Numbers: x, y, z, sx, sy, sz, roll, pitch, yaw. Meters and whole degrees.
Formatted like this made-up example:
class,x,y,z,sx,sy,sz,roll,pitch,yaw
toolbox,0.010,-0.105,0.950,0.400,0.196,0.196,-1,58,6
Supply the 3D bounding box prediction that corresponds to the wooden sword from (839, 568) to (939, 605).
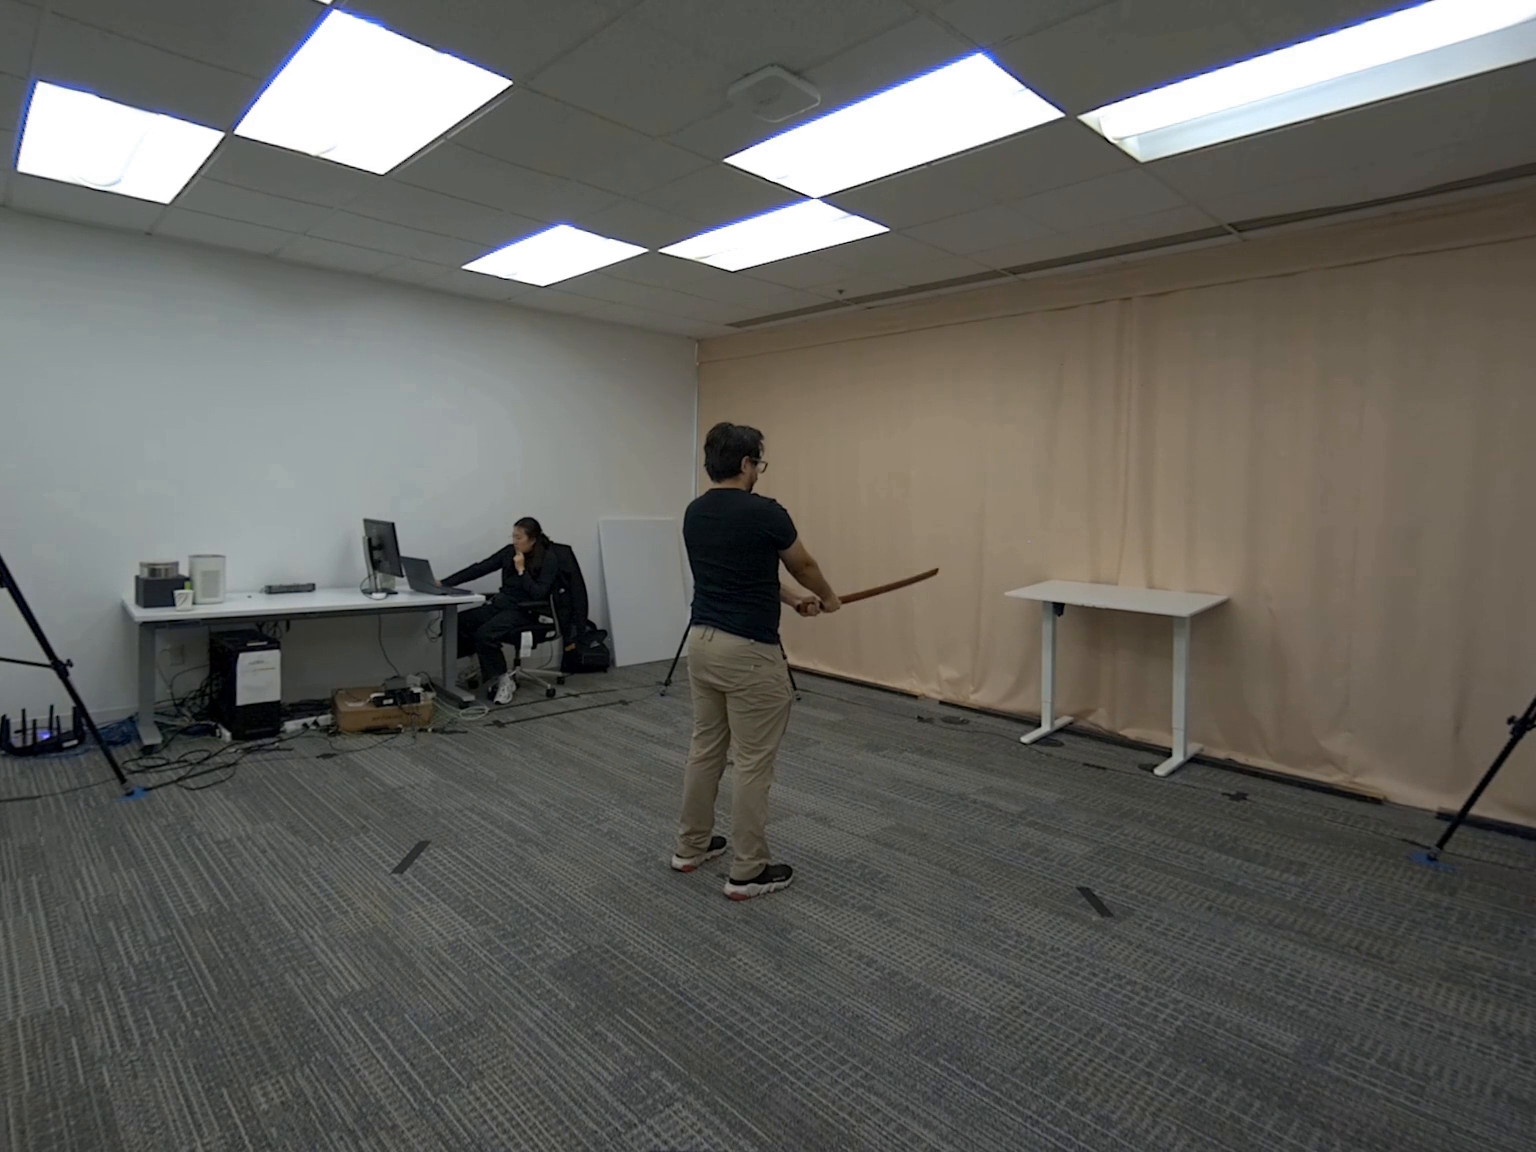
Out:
class,x,y,z,sx,sy,sz,roll,pitch,yaw
wooden sword,0.461,0.058,3.600,0.024,0.051,1.006,-8,4,44
